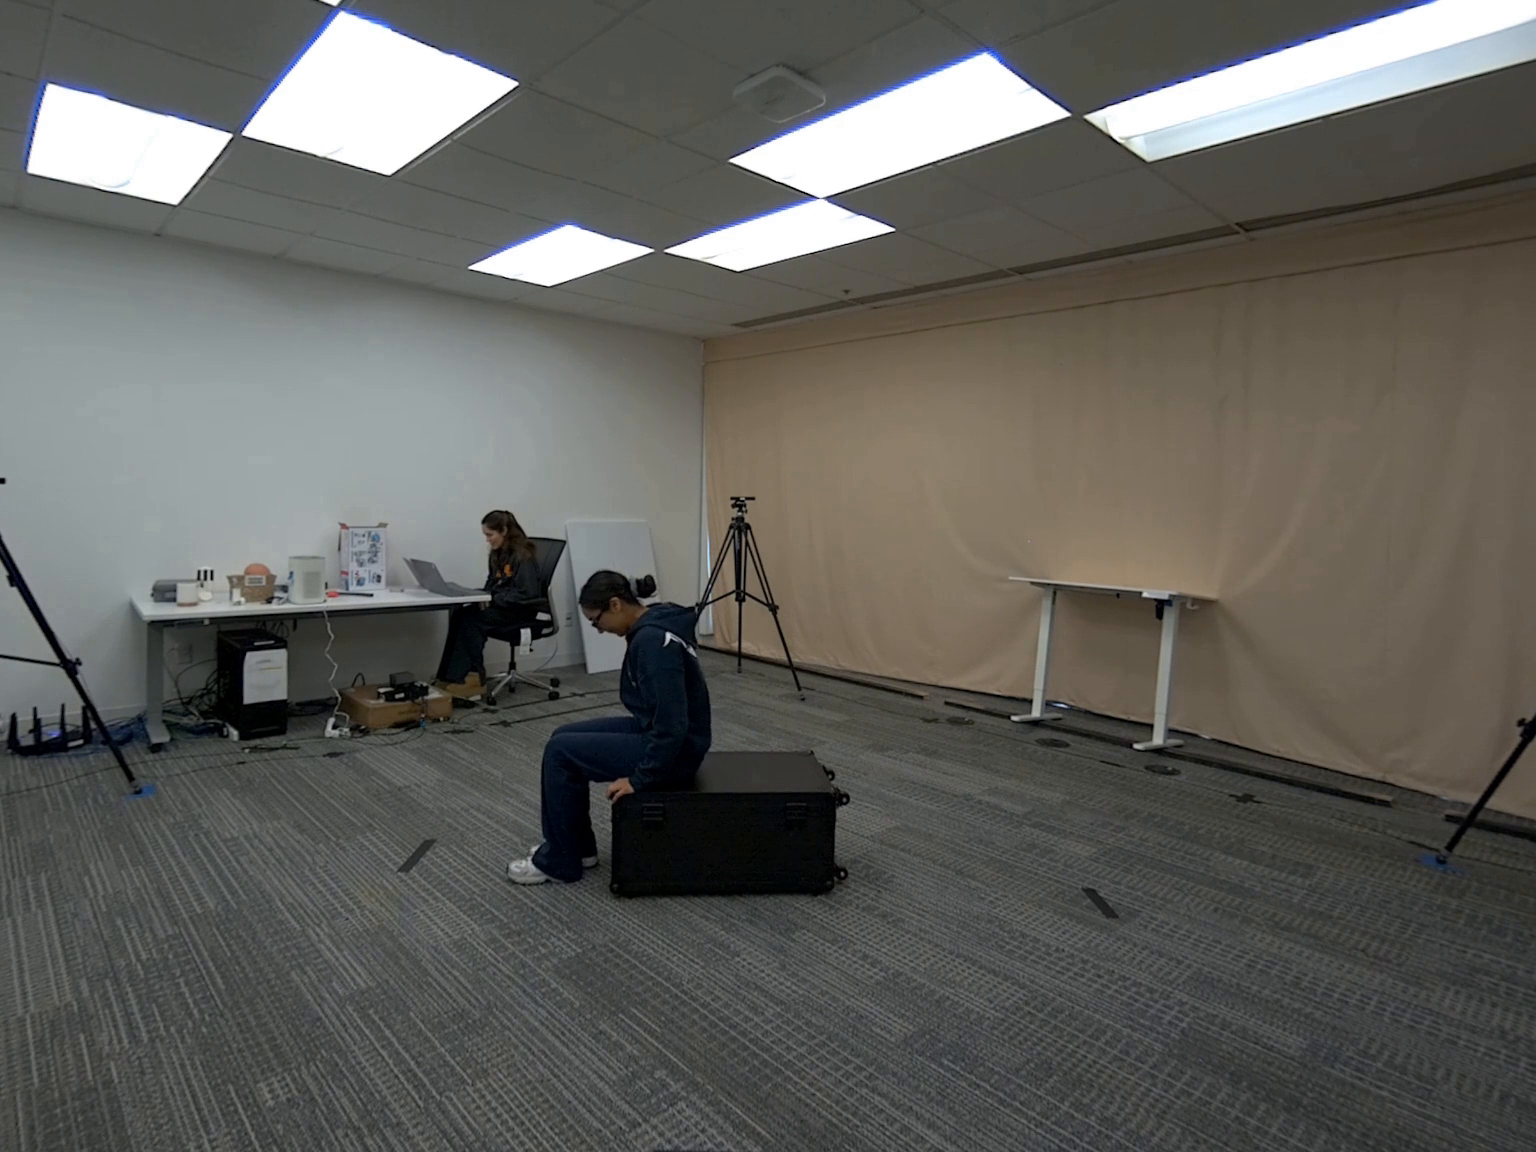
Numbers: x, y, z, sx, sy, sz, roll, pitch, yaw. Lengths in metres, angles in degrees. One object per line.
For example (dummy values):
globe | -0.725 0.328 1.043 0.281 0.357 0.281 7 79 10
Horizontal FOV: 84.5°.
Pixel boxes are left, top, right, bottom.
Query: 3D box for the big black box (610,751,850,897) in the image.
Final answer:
big black box | -0.148 0.908 3.156 0.857 0.395 0.525 0 4 -6
